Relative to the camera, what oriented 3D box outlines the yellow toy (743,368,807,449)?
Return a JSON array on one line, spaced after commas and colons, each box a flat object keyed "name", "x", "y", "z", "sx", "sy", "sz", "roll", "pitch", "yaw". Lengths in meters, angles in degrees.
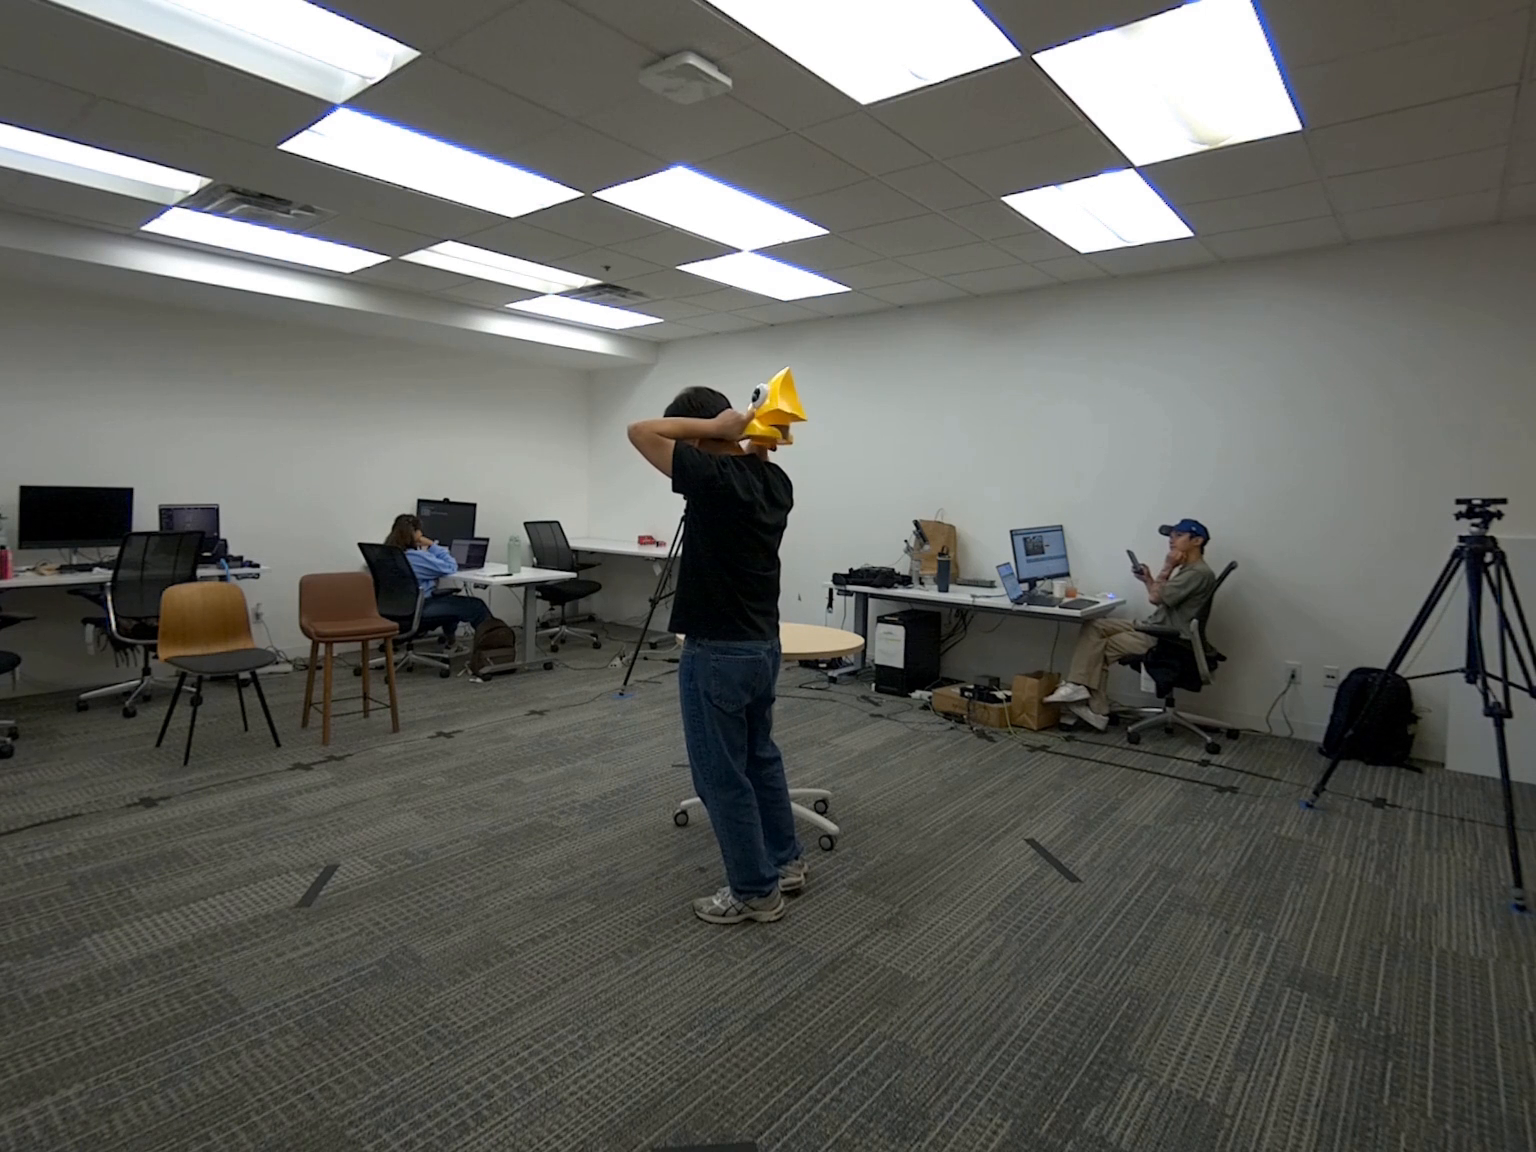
[{"name": "yellow toy", "x": -0.007, "y": -0.543, "z": 2.676, "sx": 0.199, "sy": 0.231, "sz": 0.198, "roll": 4, "pitch": -2, "yaw": 29}]
